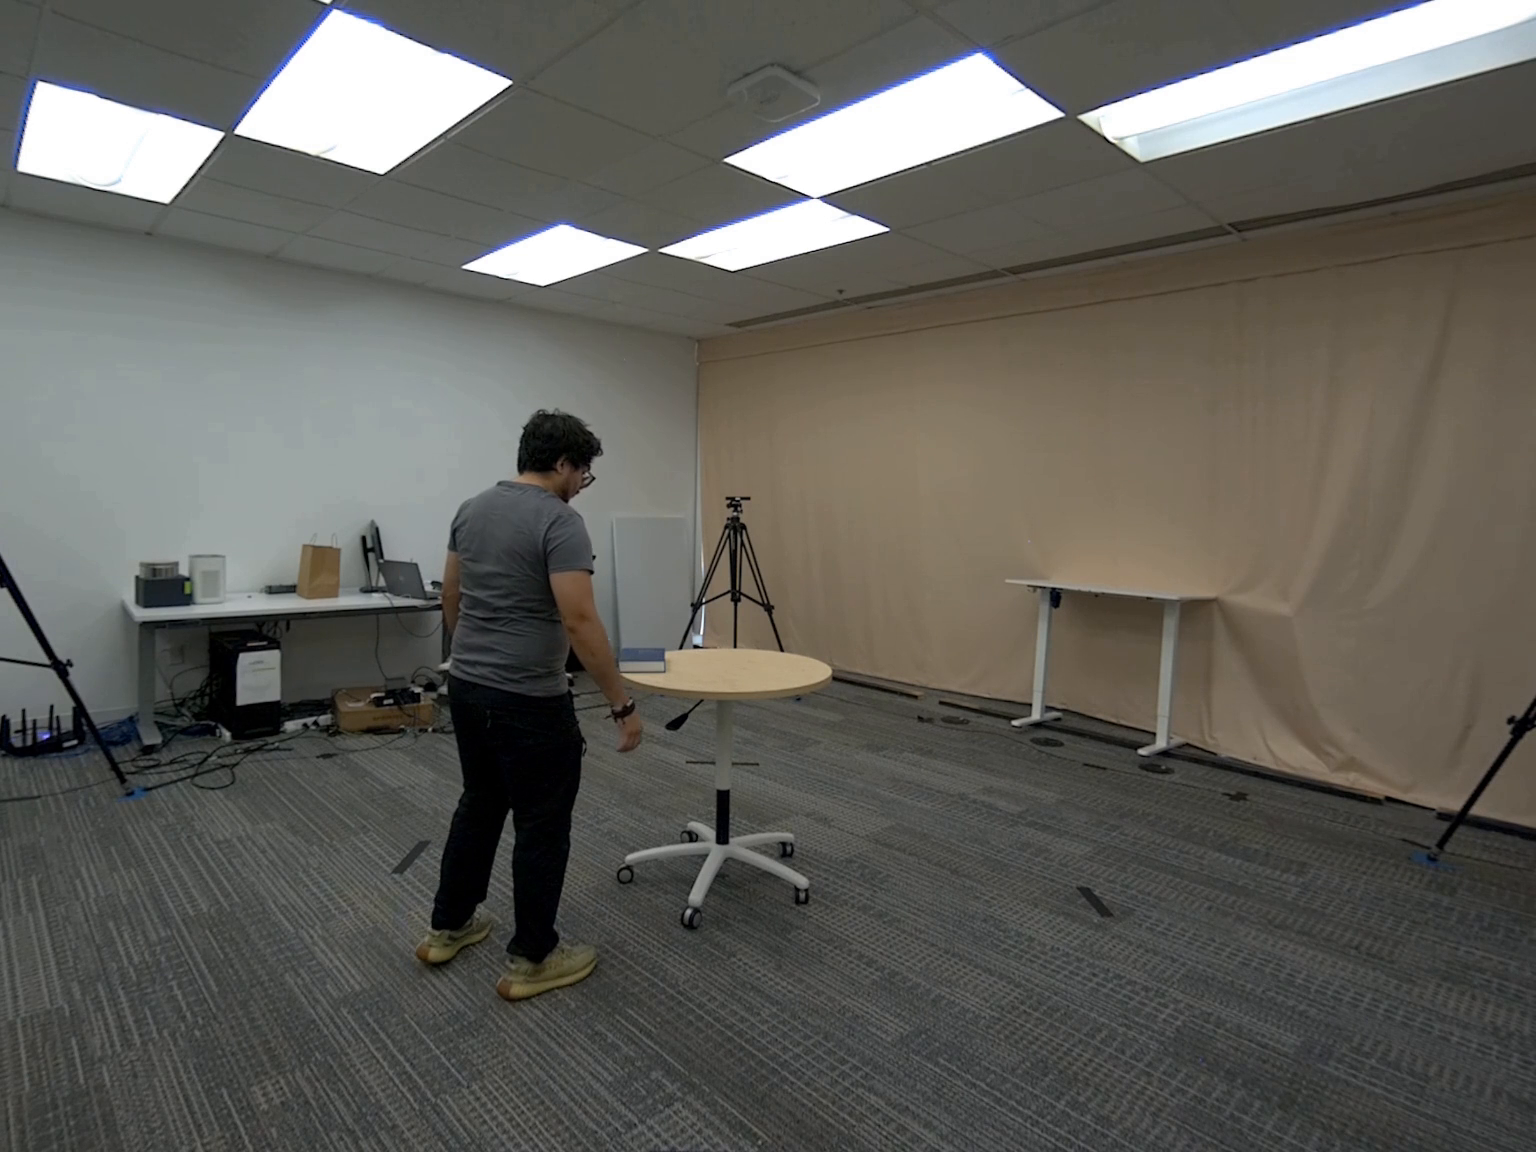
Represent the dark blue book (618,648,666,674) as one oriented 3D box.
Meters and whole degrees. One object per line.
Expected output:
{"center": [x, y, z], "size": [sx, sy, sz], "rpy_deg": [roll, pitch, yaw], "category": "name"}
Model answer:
{"center": [-0.469, 0.307, 3.043], "size": [0.162, 0.045, 0.247], "rpy_deg": [1, 5, -7], "category": "dark blue book"}
